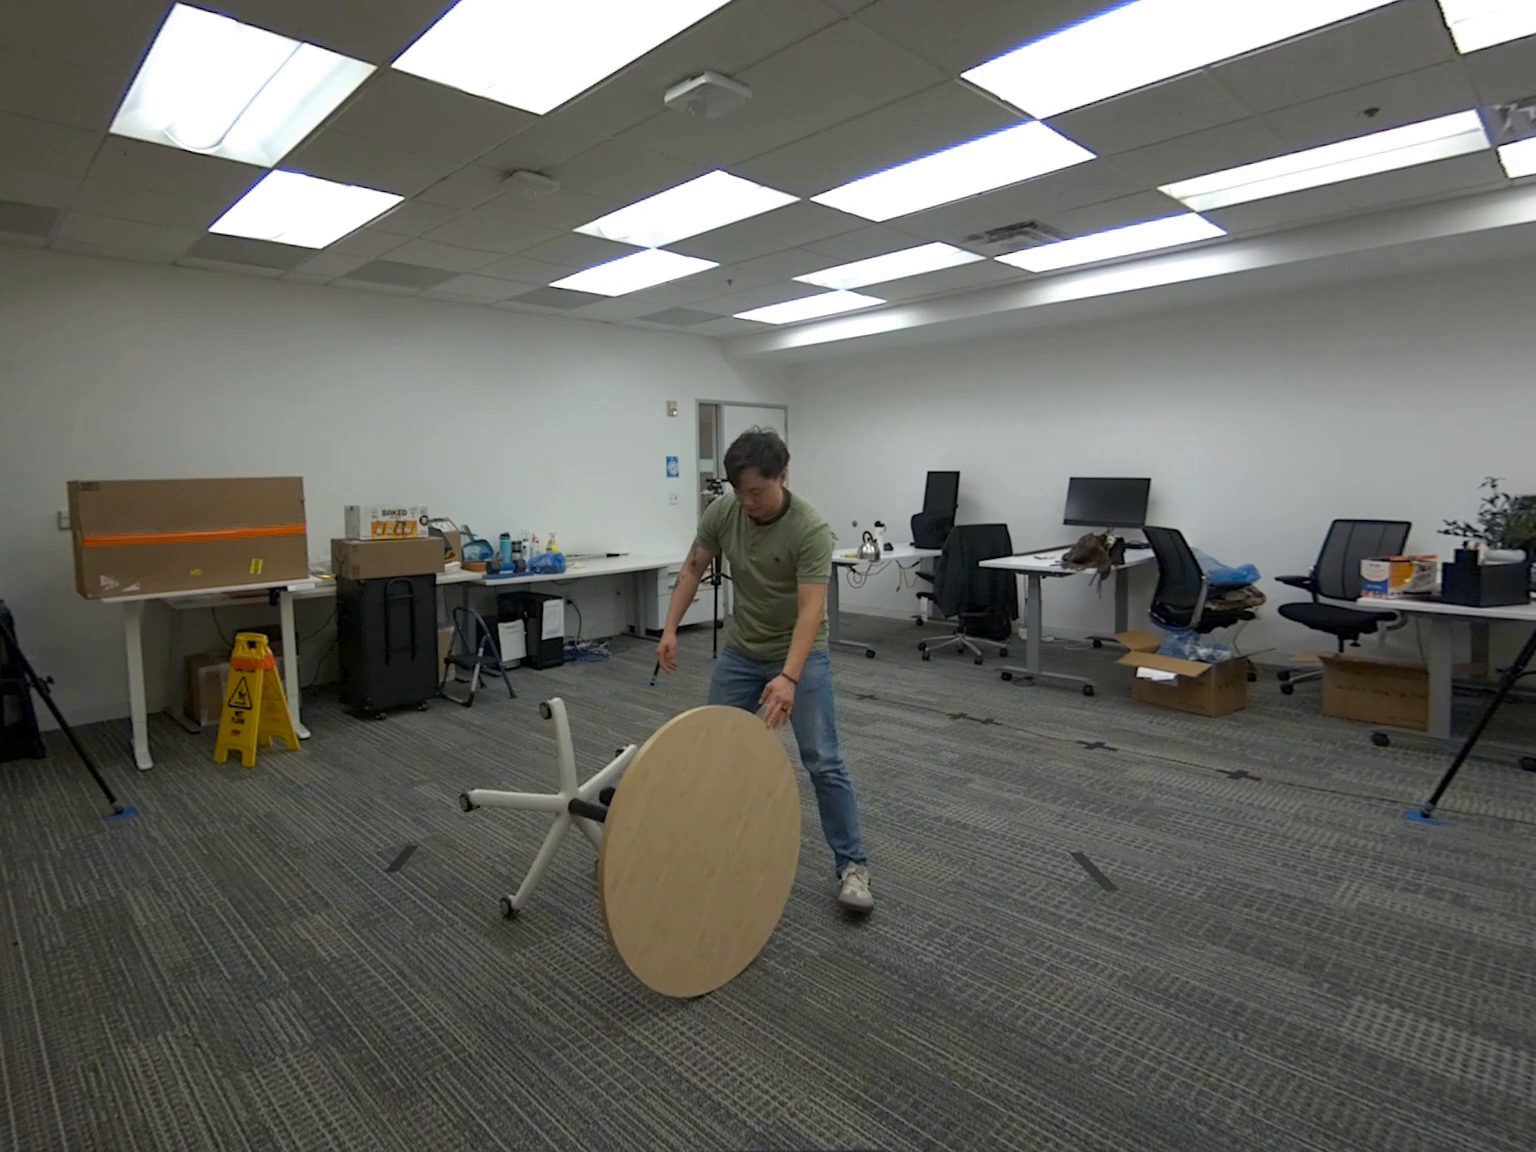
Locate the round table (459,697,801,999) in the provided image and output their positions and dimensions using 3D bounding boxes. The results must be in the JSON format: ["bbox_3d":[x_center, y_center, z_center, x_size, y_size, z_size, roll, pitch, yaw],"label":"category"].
[{"bbox_3d":[-0.447,0.759,2.640,0.816,0.763,0.744,-3,2,43],"label":"round table"}]
